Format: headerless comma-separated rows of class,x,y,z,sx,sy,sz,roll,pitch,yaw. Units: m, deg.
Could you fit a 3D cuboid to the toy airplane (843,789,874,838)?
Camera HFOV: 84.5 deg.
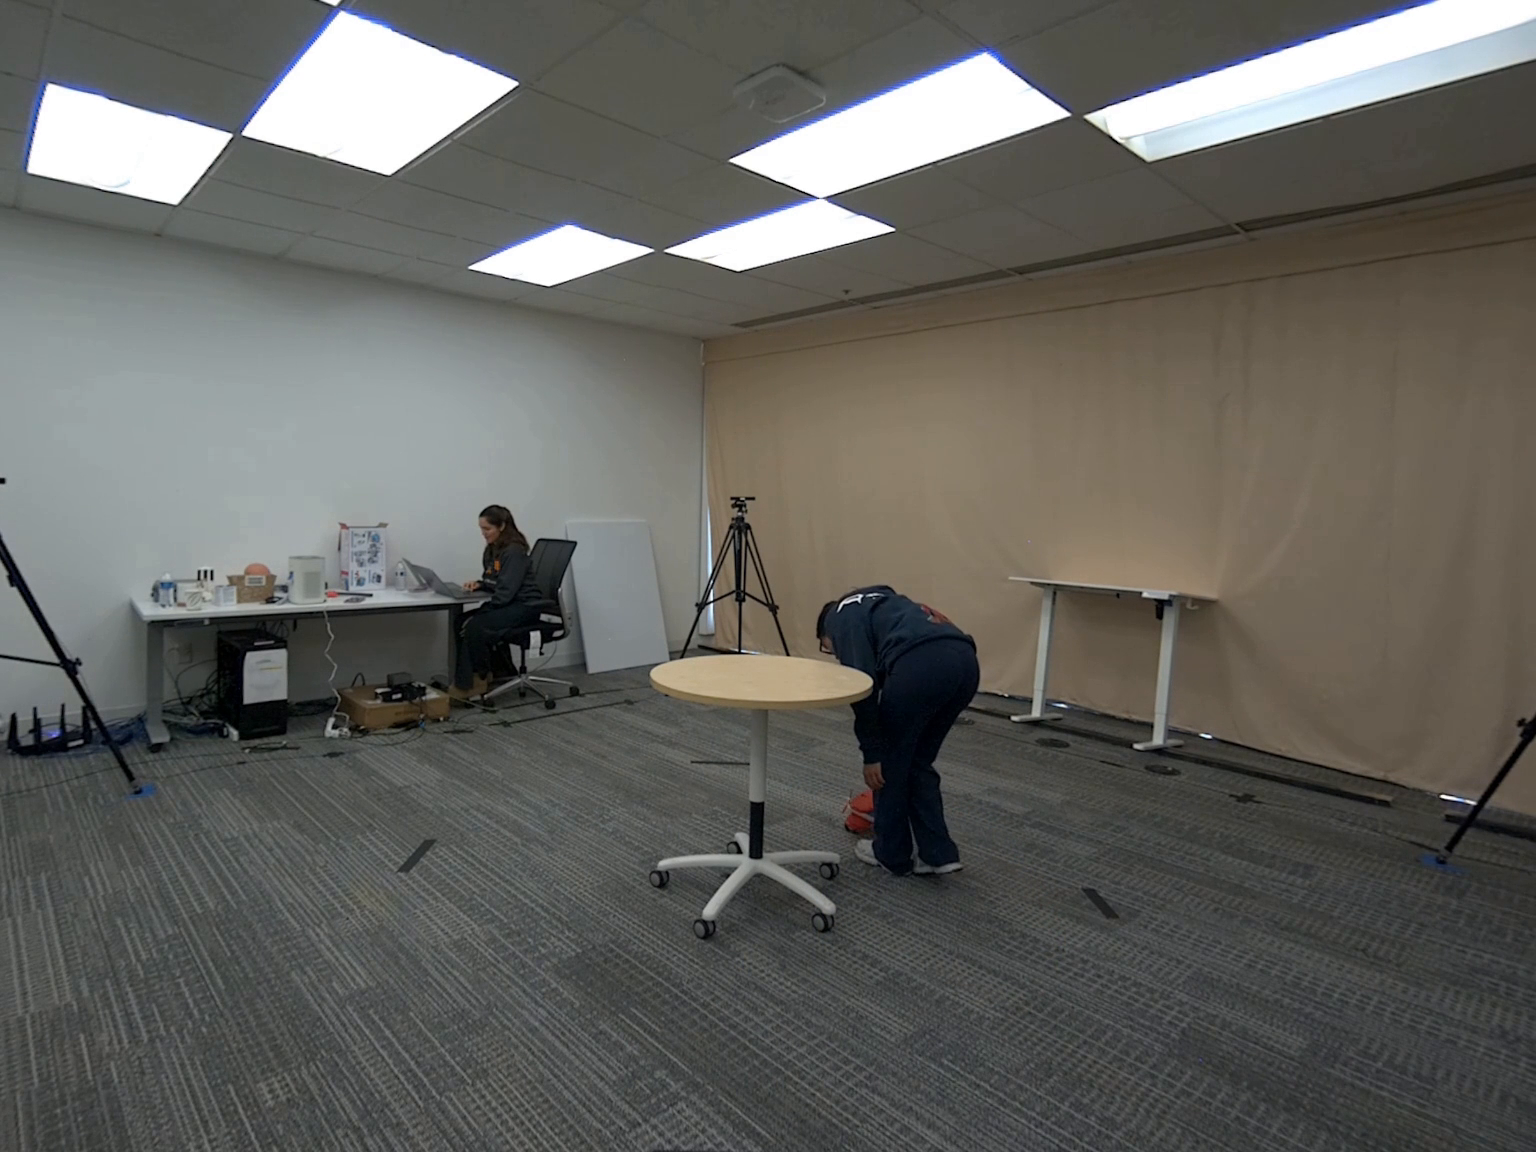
toy airplane,0.446,1.009,3.562,0.260,0.156,0.251,1,4,4
